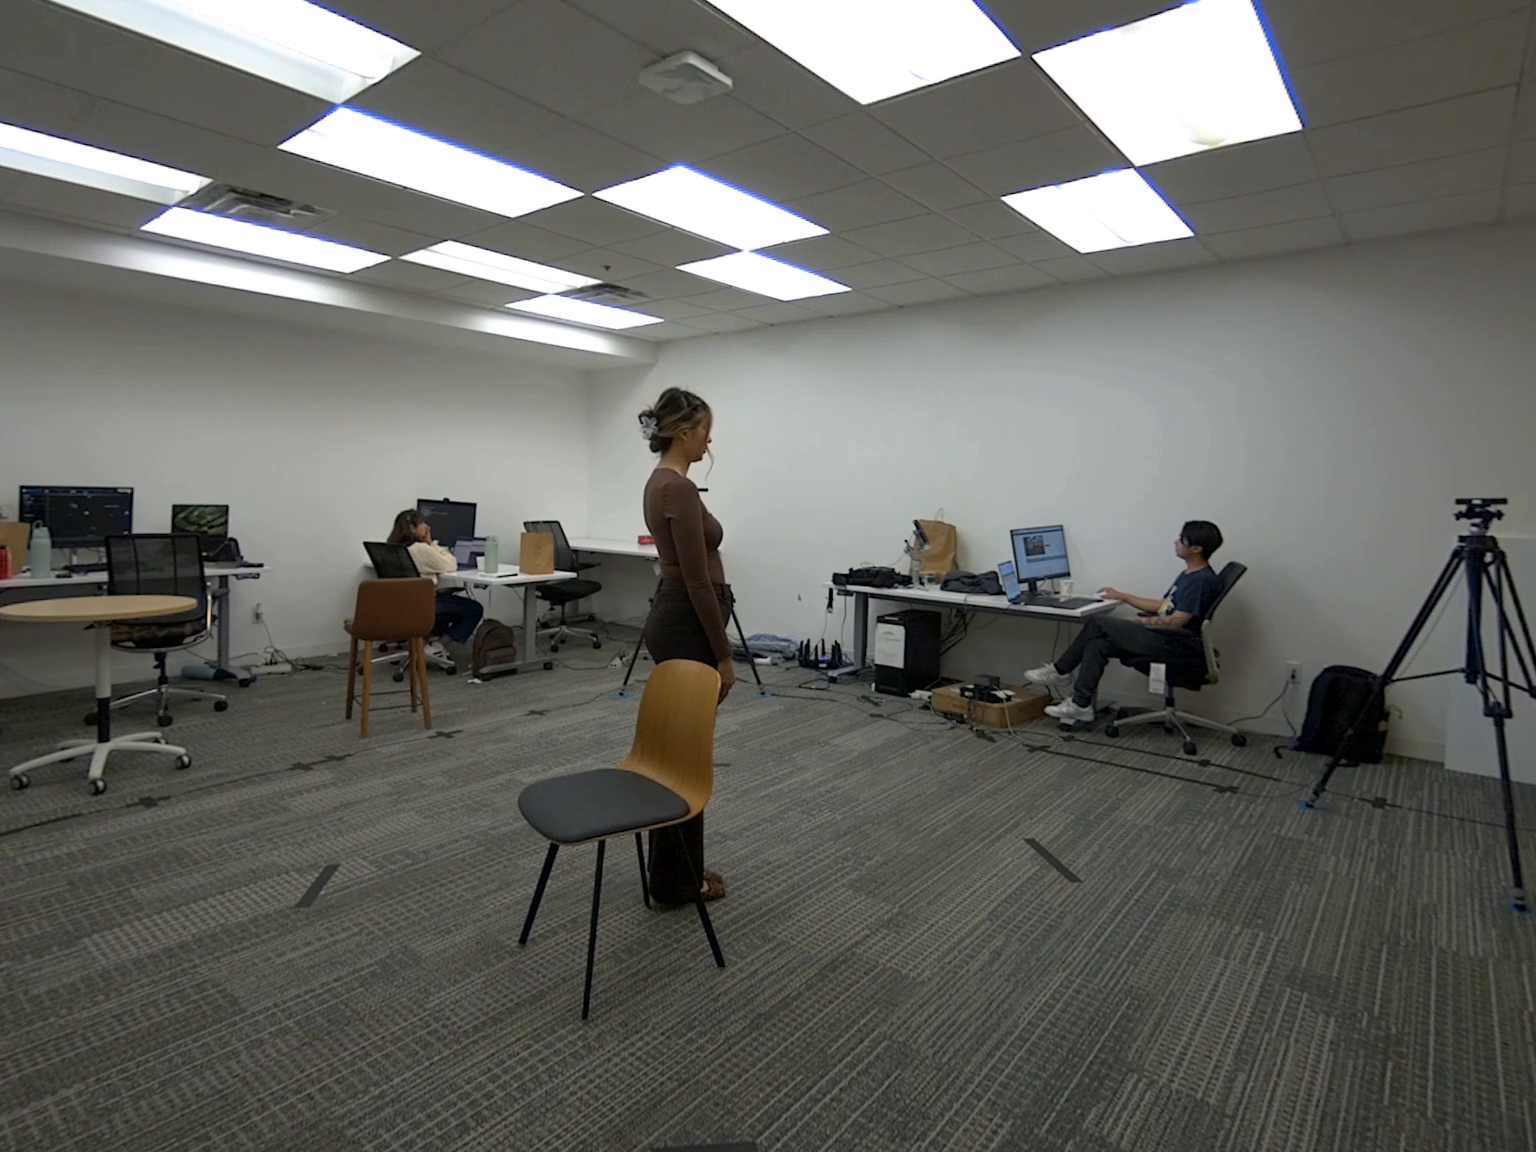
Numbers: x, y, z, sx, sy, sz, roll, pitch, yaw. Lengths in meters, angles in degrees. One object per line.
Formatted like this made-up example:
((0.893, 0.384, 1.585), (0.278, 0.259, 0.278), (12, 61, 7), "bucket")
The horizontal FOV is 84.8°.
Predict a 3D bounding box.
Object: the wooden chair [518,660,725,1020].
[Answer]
((-0.442, 0.702, 2.490), (0.507, 0.877, 0.494), (4, 1, -36), "wooden chair")
